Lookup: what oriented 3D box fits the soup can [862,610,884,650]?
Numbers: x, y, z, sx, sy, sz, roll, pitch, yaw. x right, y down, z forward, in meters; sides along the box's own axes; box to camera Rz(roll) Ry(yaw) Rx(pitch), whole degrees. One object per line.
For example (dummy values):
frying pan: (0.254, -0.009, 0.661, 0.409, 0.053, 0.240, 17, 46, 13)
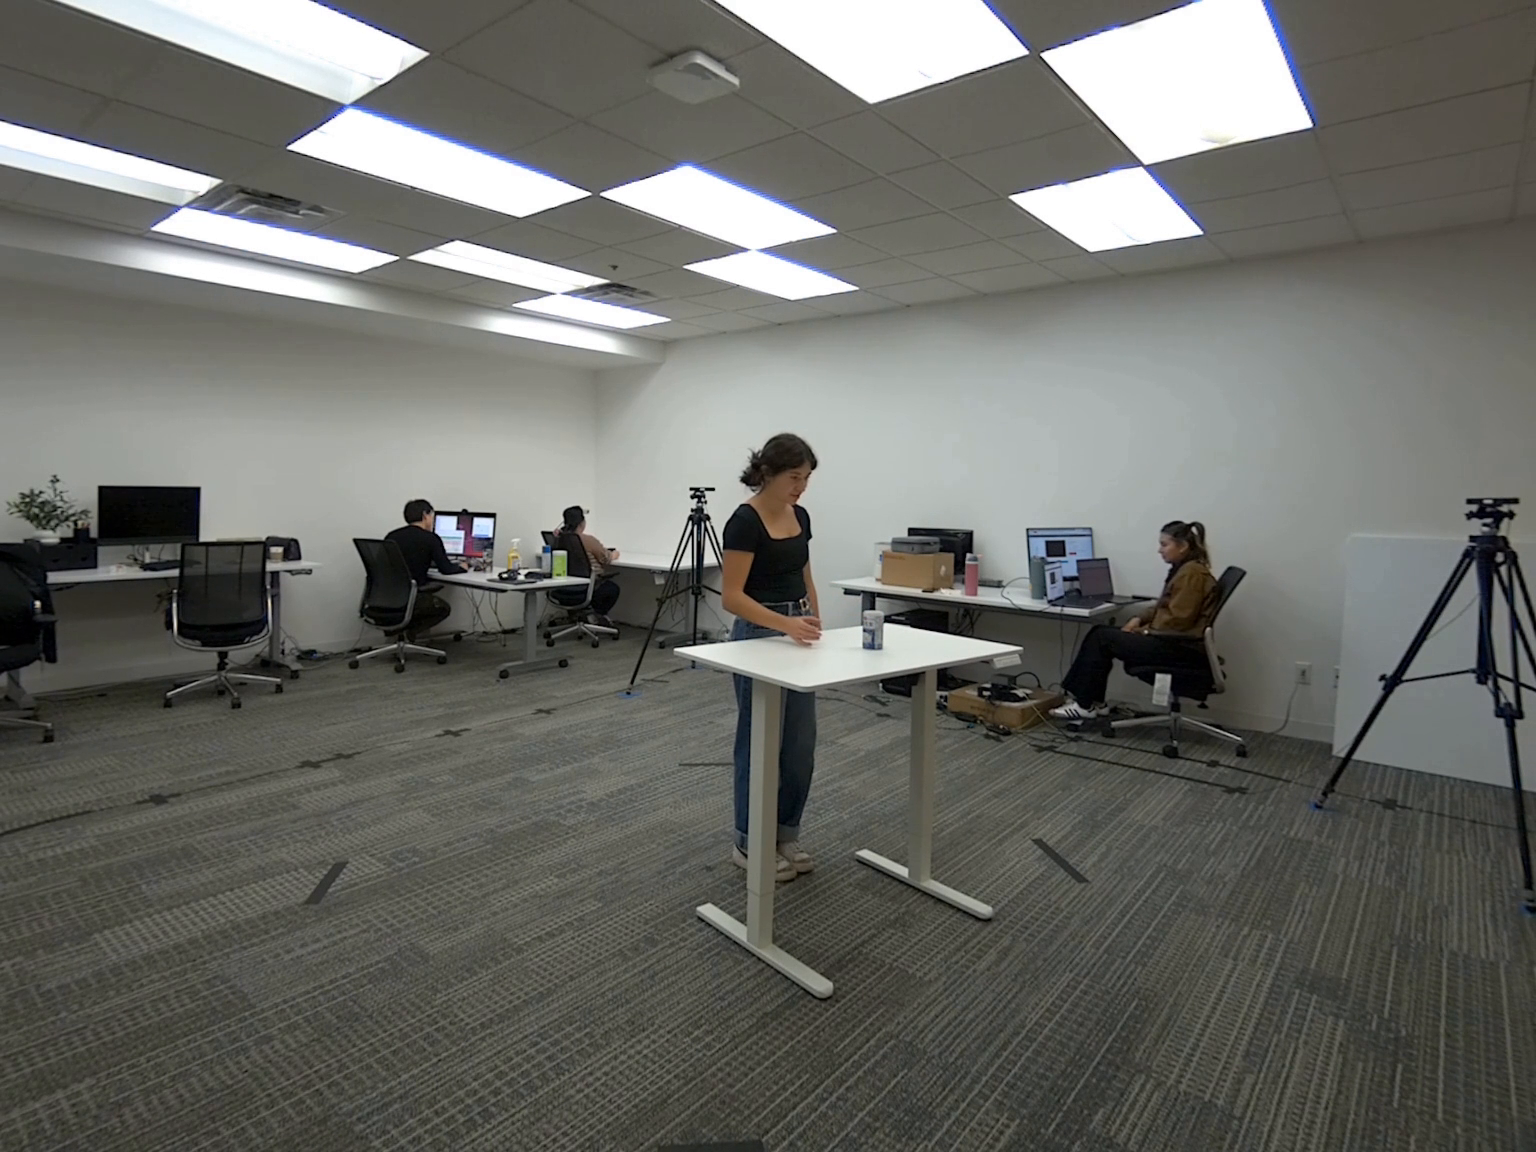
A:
soup can: (0.332, 0.174, 2.747, 0.067, 0.121, 0.067, 0, 4, -2)
